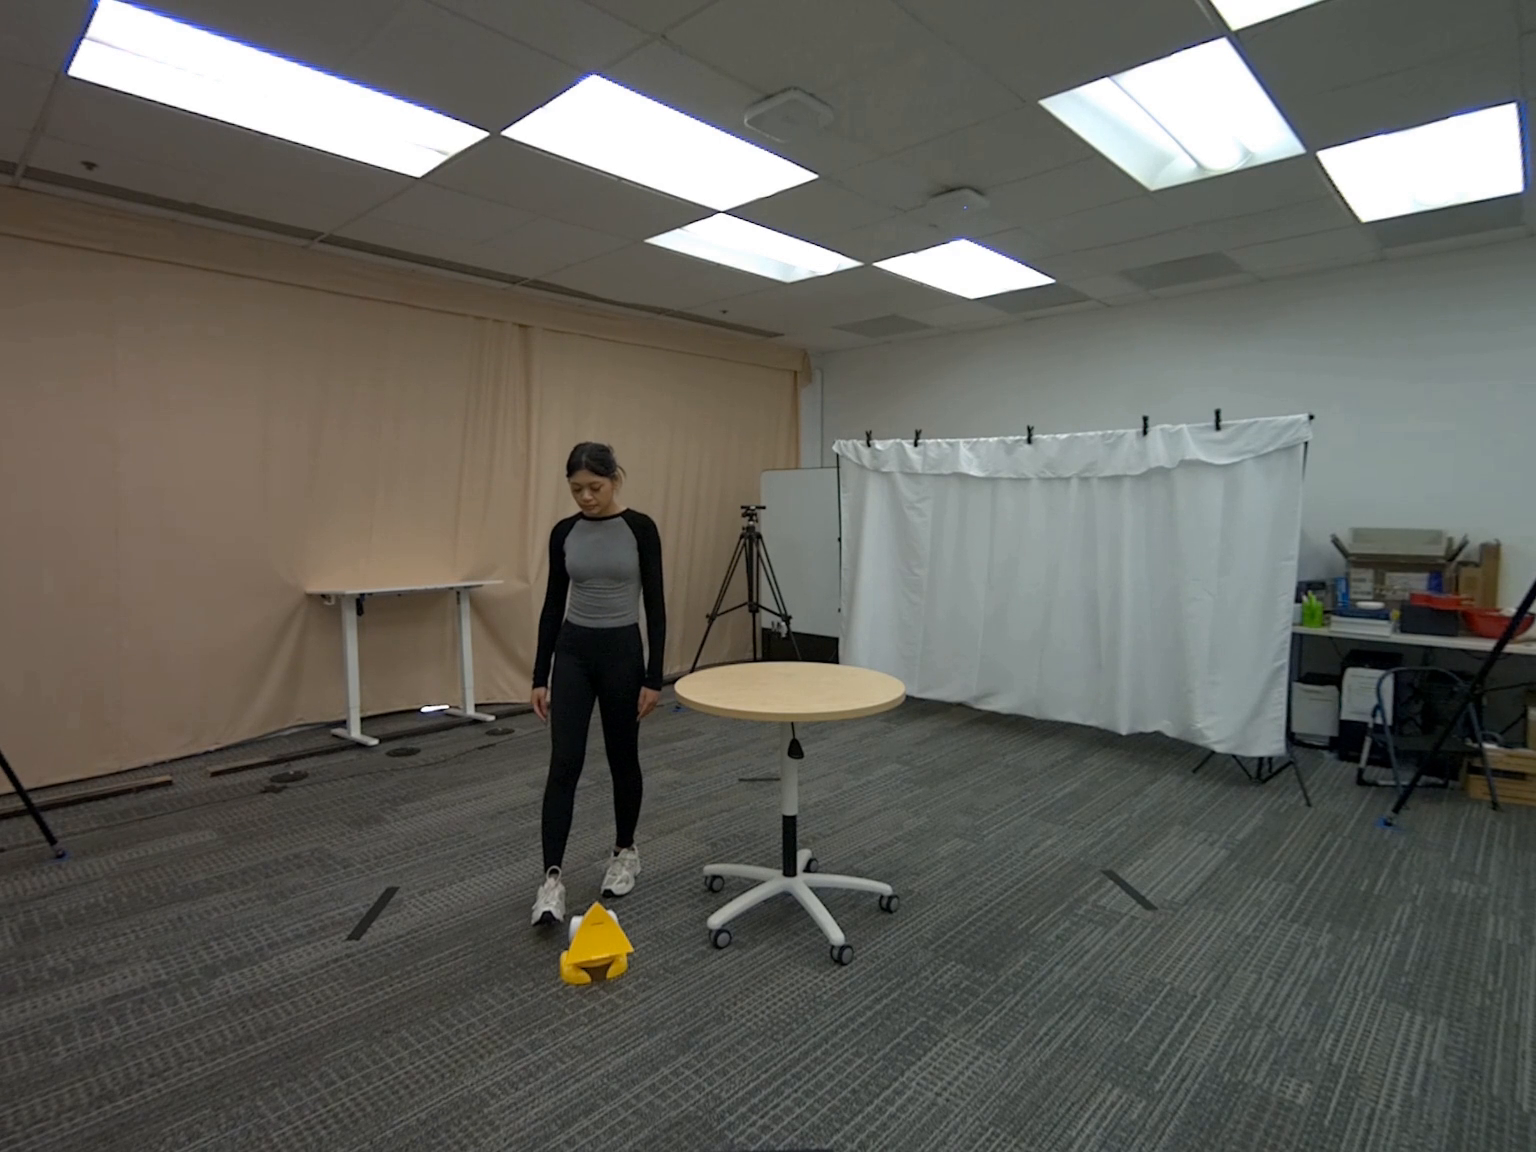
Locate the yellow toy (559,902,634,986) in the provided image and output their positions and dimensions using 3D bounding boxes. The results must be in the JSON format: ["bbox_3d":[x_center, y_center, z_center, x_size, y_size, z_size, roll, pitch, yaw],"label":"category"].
[{"bbox_3d":[-0.527,1.076,2.529,0.200,0.230,0.198,-3,4,-23],"label":"yellow toy"}]
